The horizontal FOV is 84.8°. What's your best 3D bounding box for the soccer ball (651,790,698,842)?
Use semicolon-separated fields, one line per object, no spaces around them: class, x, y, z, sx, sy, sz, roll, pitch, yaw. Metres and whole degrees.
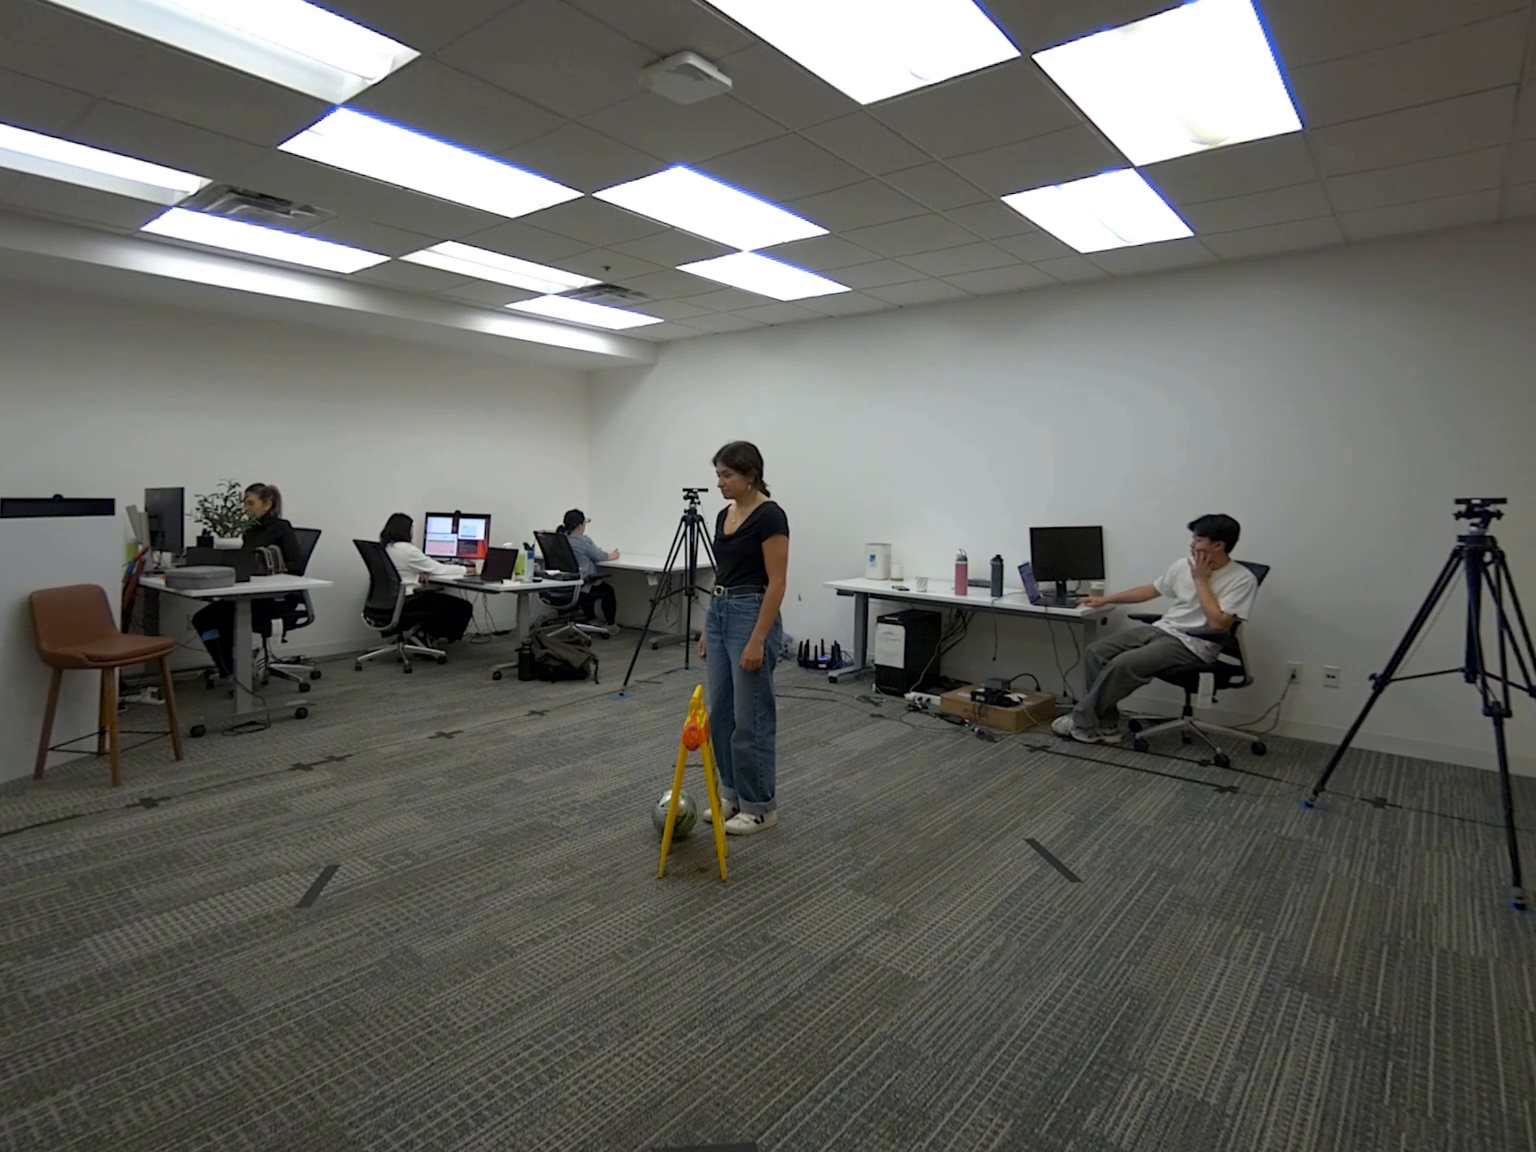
soccer ball;-0.372;0.942;3.408;0.187;0.187;0.188;1;4;-2
